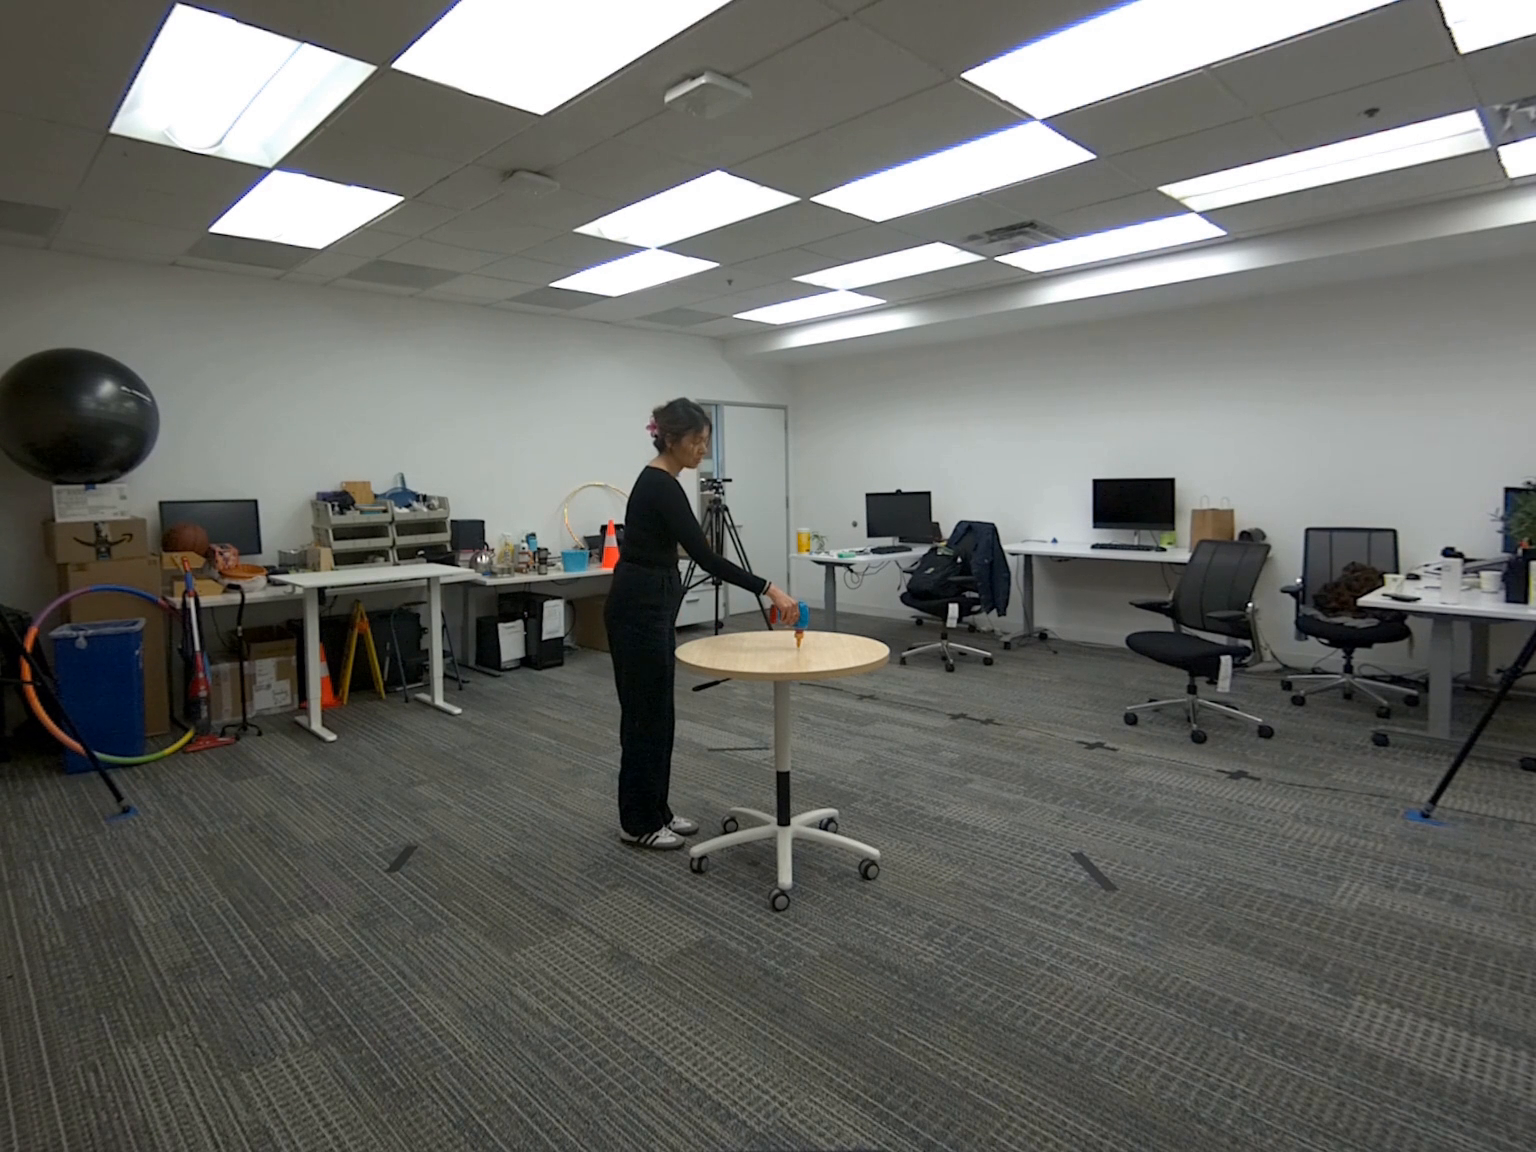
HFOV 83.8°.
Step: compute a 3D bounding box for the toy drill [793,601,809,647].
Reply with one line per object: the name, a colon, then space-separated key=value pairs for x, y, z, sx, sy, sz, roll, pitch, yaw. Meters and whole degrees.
toy drill: x=0.085 y=0.172 z=3.052 sx=0.144 sy=0.168 sz=0.063 roll=-1 pitch=11 yaw=-17
